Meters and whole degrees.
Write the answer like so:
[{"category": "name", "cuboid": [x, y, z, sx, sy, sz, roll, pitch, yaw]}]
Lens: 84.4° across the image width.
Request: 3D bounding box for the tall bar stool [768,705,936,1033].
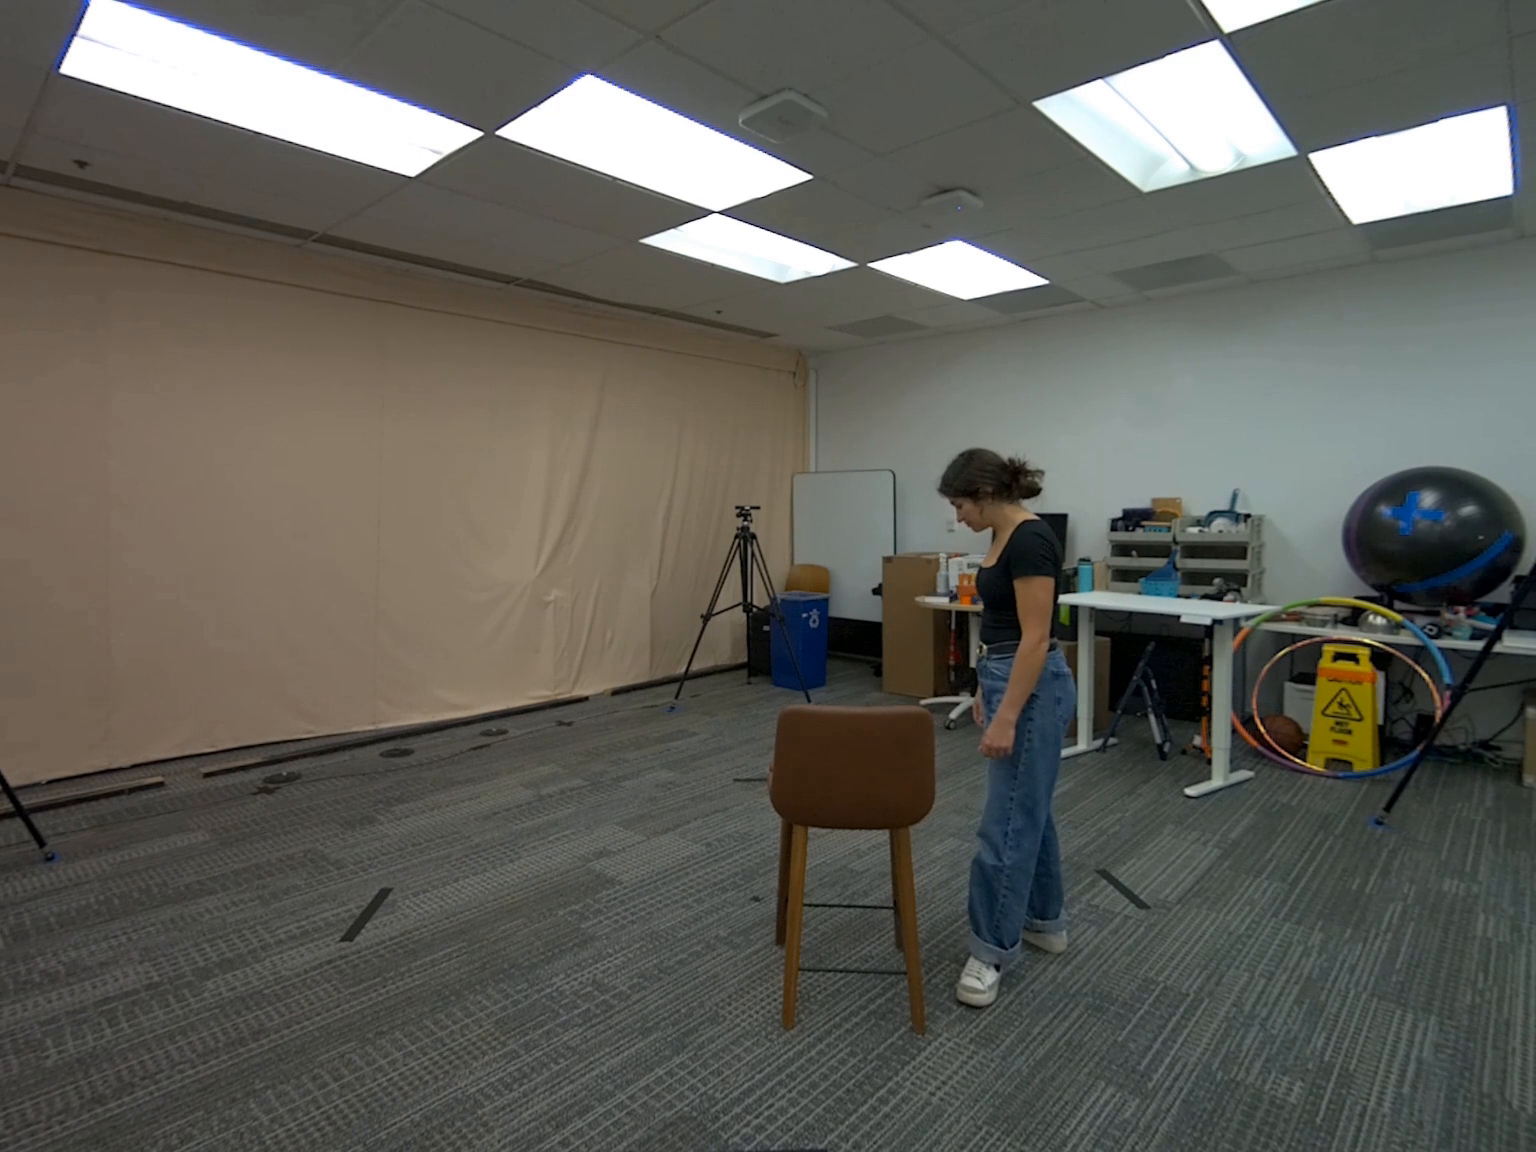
[{"category": "tall bar stool", "cuboid": [0.234, 0.760, 2.428, 0.458, 0.887, 0.468, 1, 4, 1]}]
